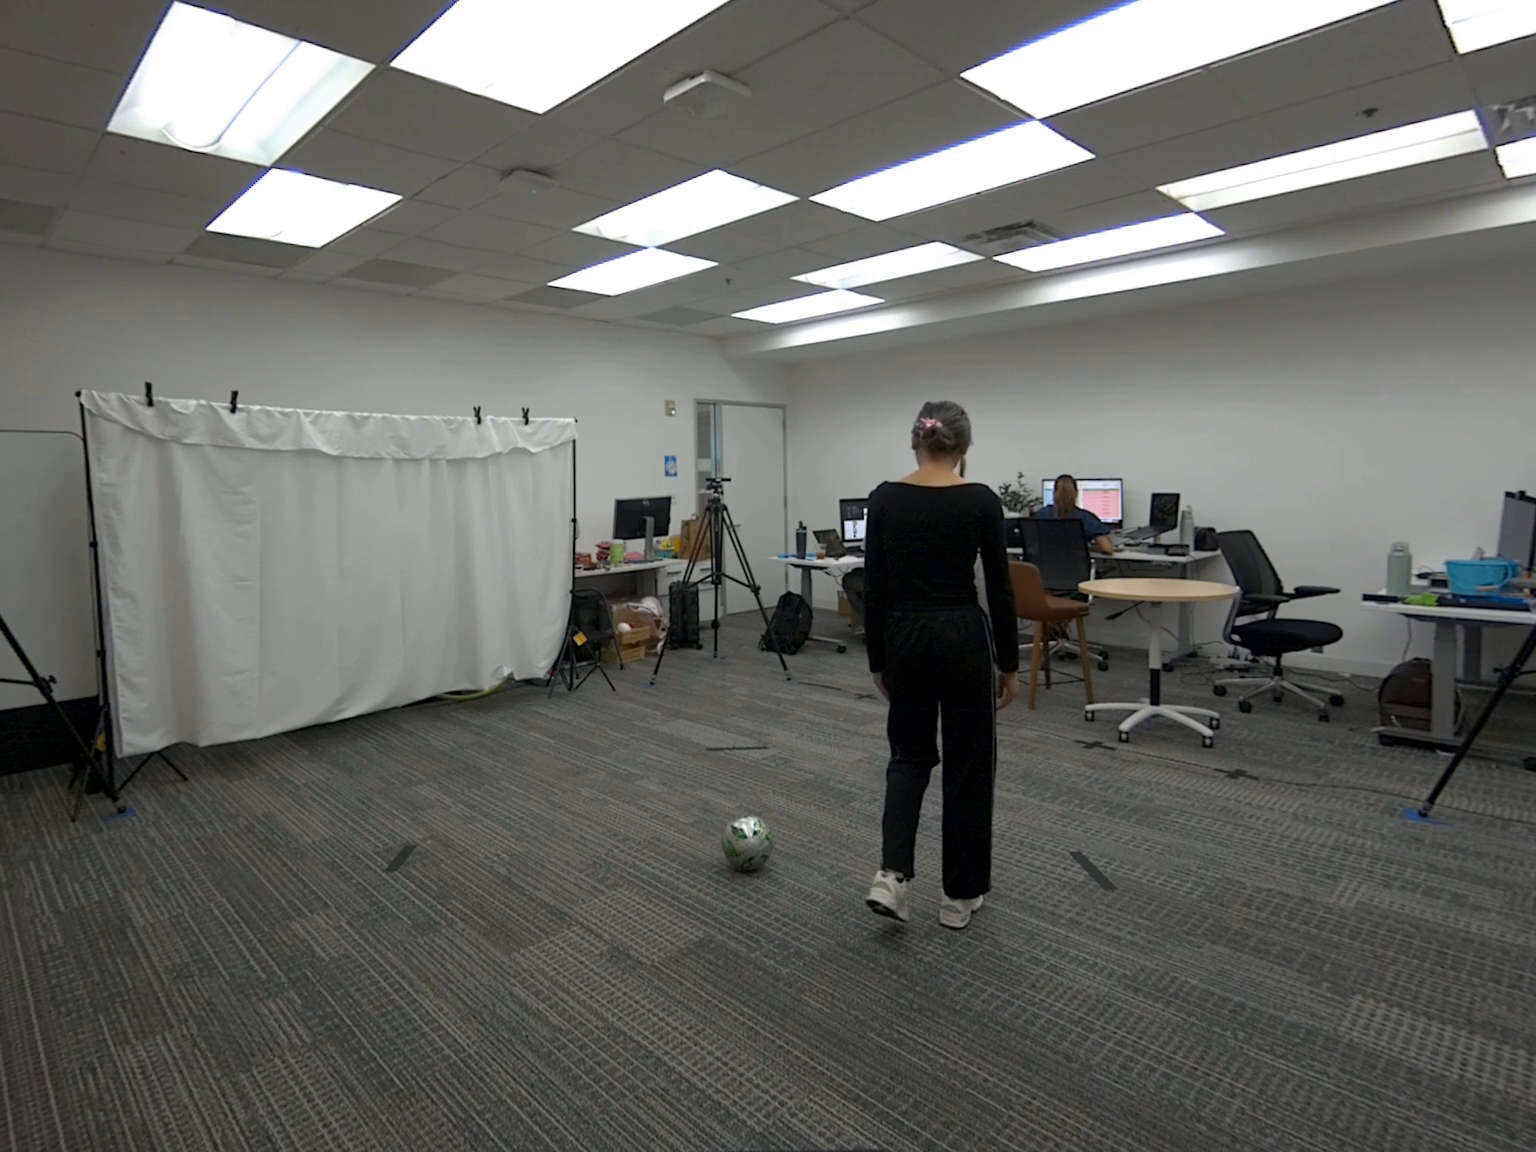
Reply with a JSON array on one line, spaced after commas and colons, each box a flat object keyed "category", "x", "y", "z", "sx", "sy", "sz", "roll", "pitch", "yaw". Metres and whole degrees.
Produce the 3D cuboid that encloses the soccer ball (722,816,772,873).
[{"category": "soccer ball", "x": -0.072, "y": 0.952, "z": 3.061, "sx": 0.187, "sy": 0.187, "sz": 0.188, "roll": -1, "pitch": 5, "yaw": -2}]
